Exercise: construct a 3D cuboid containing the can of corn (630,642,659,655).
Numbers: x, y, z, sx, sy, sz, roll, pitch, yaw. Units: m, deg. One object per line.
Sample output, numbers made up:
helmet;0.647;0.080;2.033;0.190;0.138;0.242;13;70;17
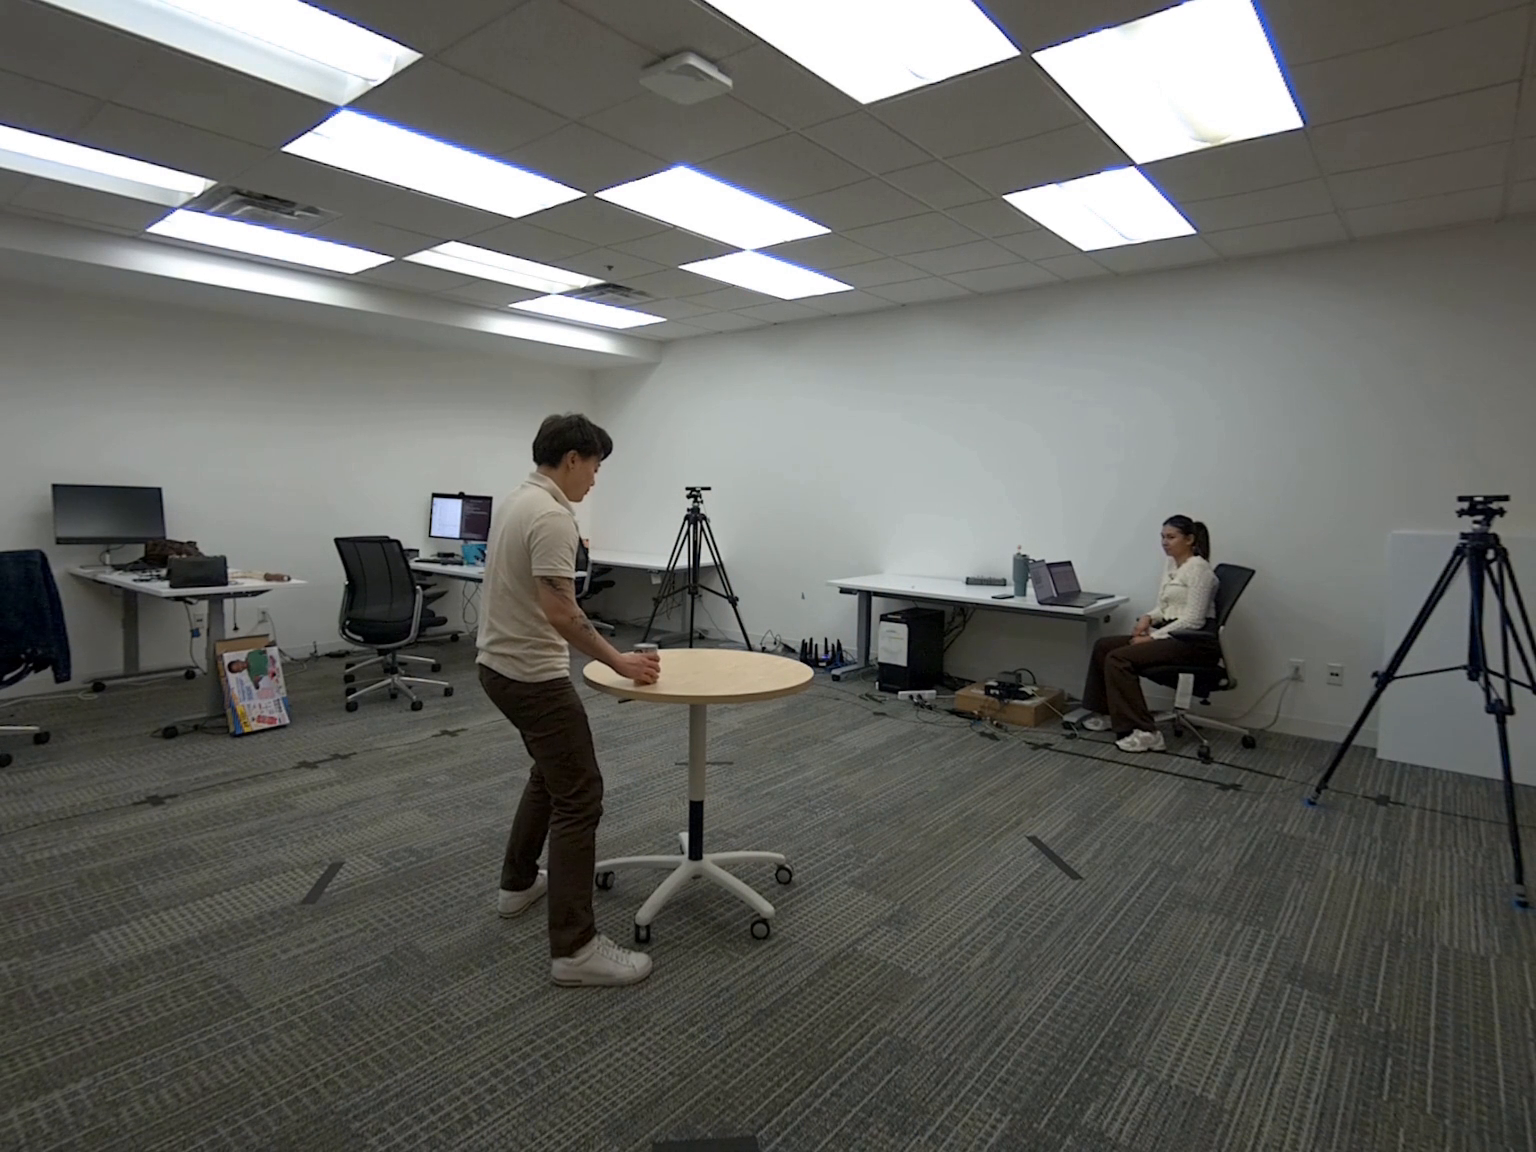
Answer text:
can of corn;-0.394;0.276;2.628;0.074;0.110;0.075;-4;9;-1
